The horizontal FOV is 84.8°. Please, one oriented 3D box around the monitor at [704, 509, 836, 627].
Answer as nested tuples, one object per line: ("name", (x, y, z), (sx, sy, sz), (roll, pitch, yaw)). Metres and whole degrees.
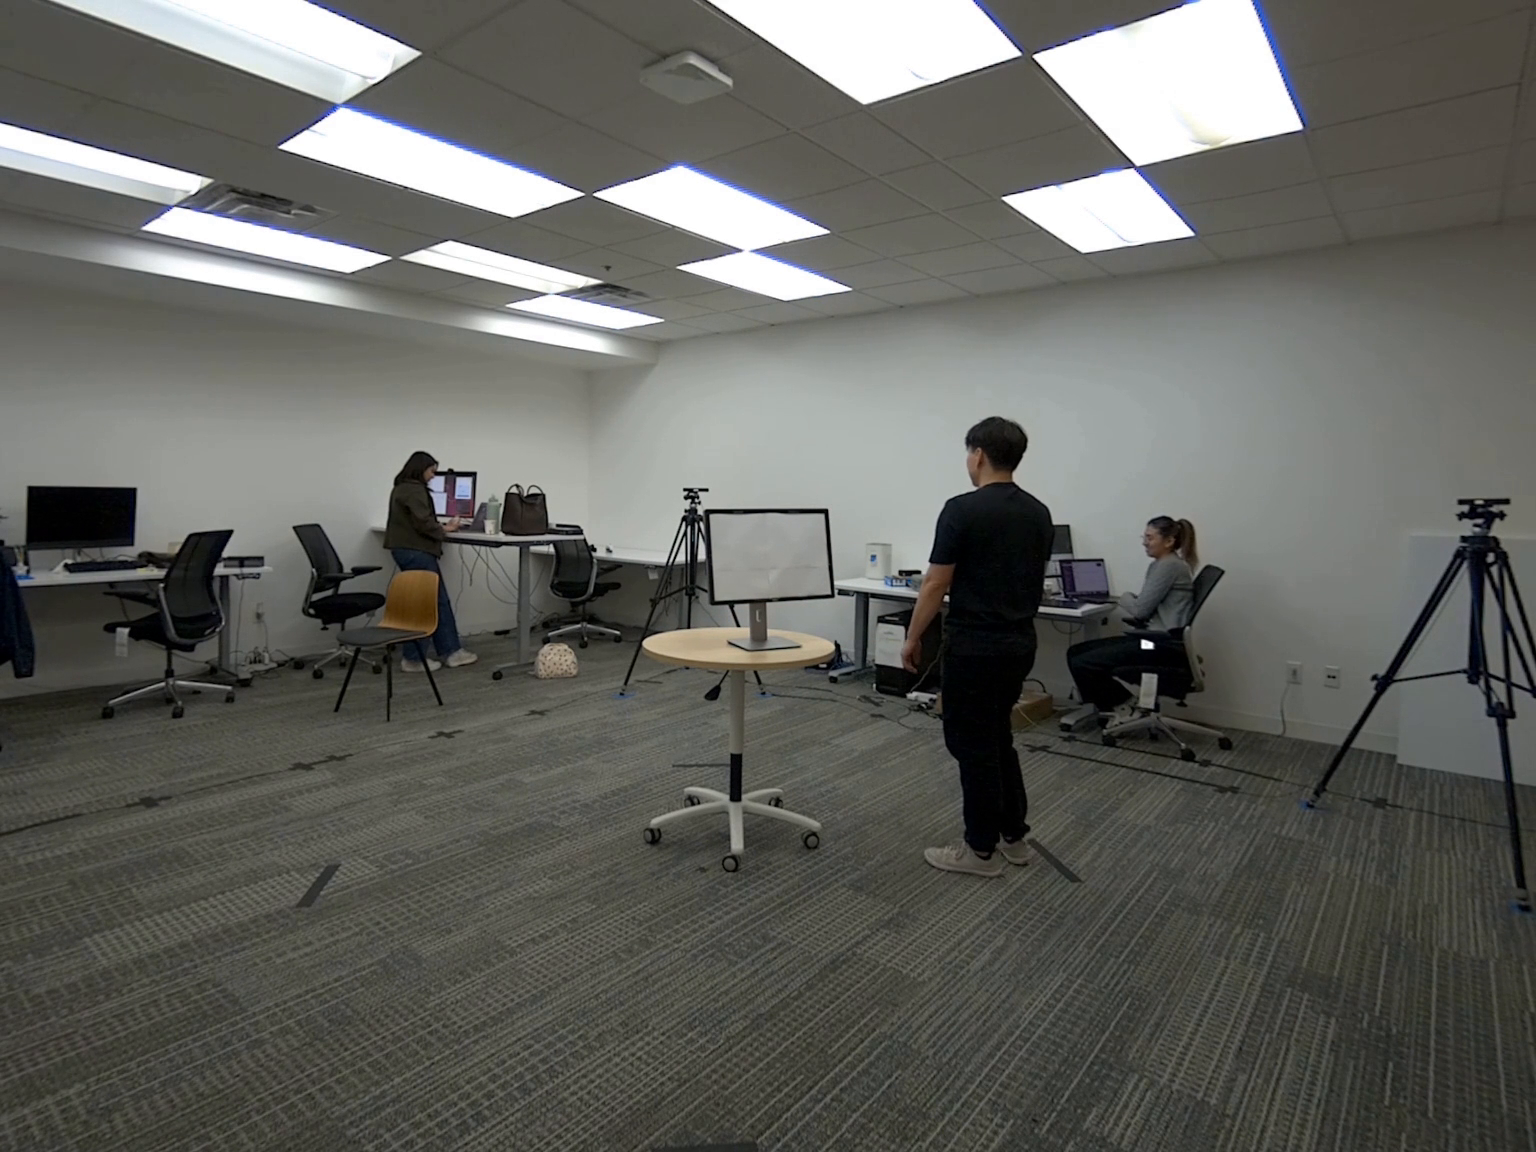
("monitor", (-0.016, 0.005, 3.360), (0.525, 0.520, 0.193), (-2, 6, -28))
